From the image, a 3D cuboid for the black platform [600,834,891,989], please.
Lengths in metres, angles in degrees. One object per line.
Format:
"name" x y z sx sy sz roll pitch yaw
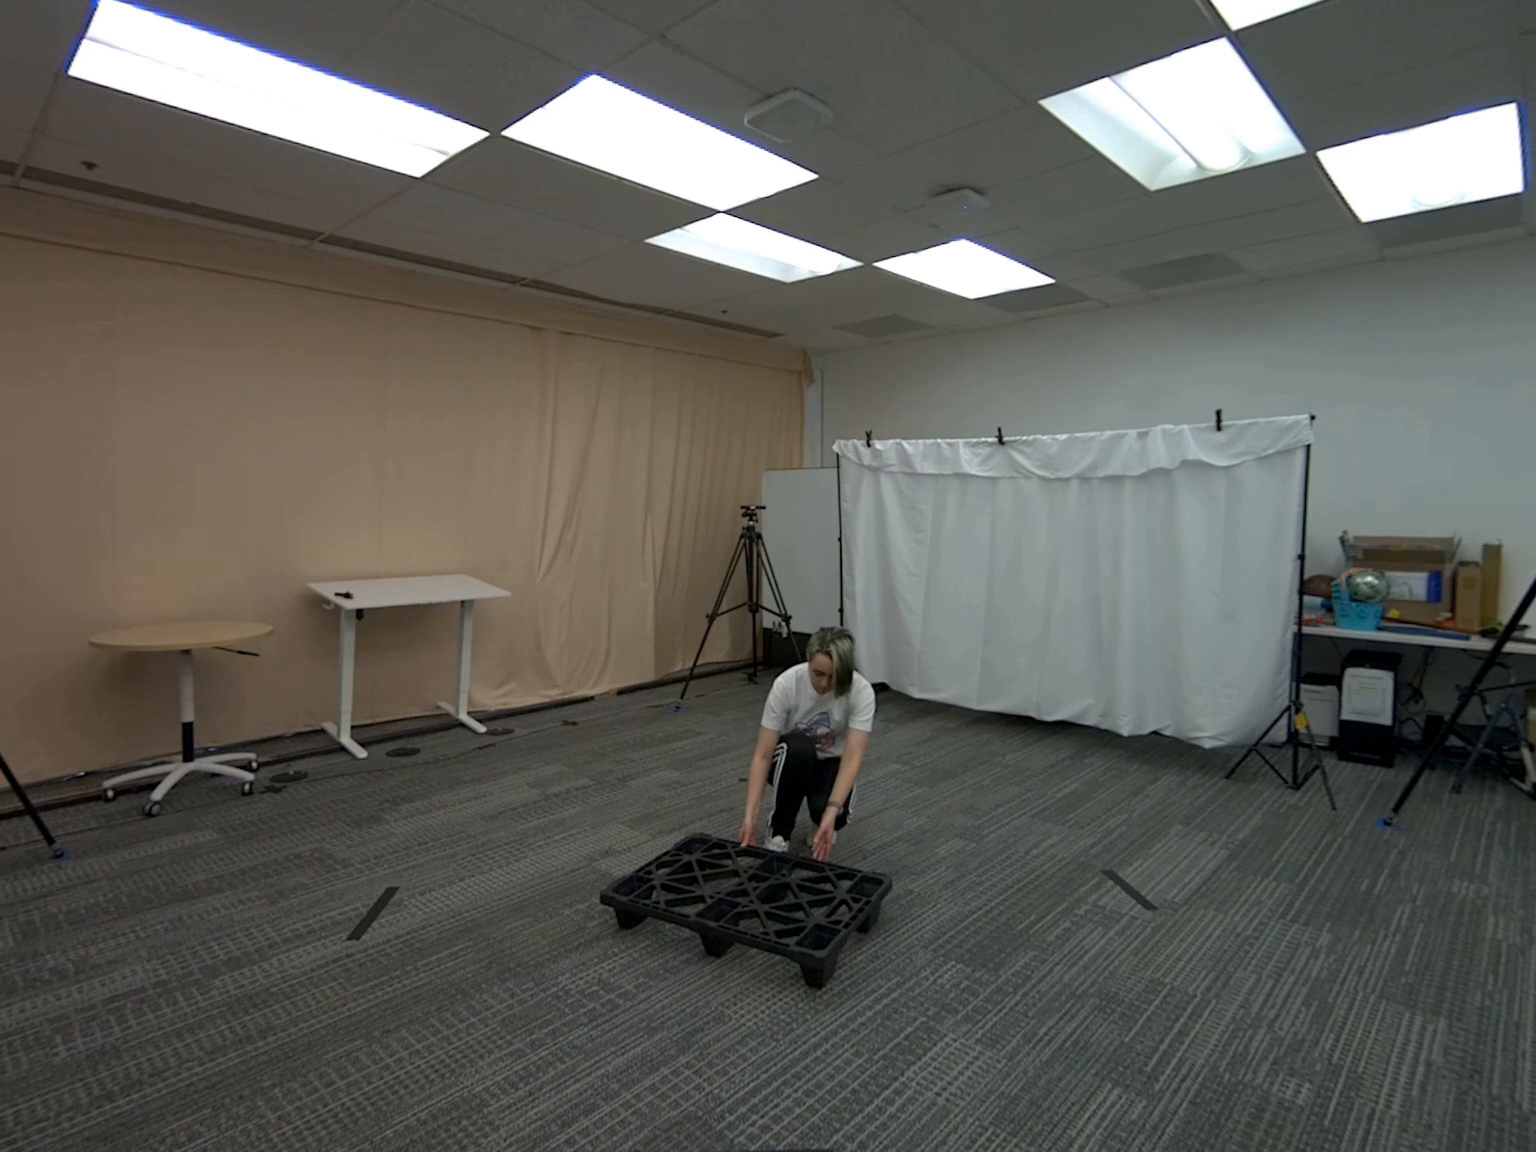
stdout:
"black platform" -0.070 1.091 2.804 0.829 0.143 0.589 3 5 29
